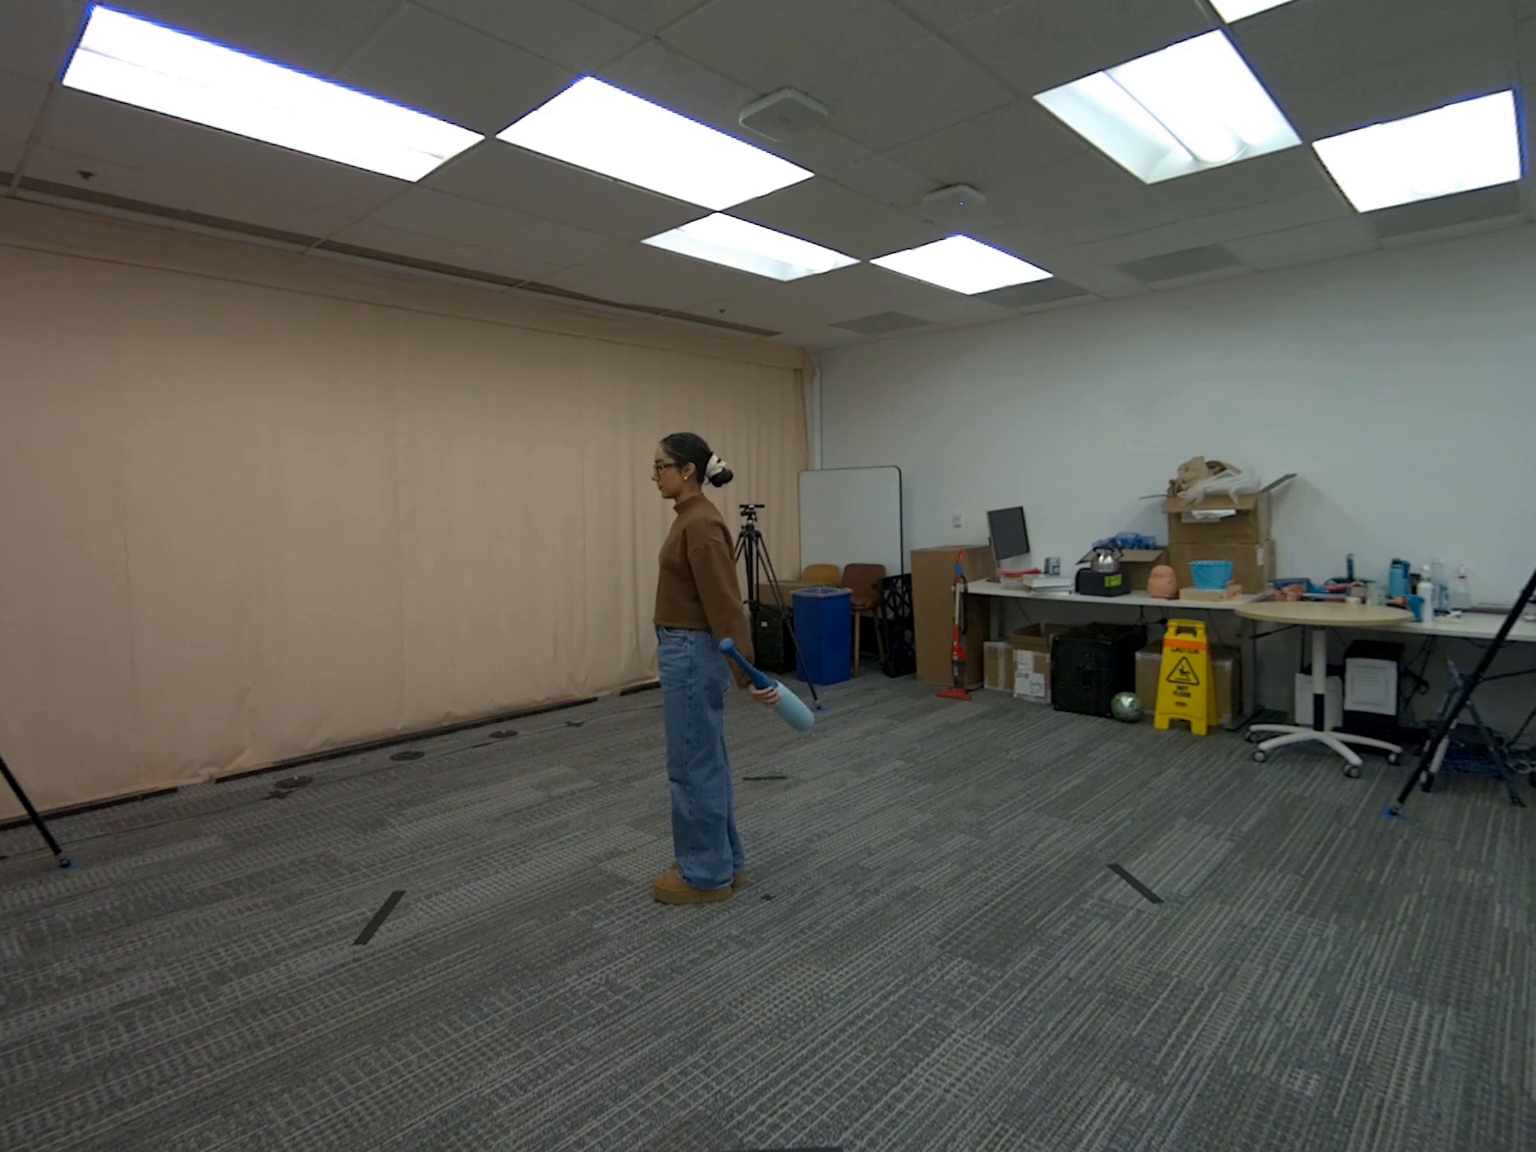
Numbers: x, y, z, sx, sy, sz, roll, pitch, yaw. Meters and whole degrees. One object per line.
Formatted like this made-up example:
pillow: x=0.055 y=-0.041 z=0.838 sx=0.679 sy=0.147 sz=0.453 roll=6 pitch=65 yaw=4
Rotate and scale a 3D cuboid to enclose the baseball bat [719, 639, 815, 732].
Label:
baseball bat: x=-0.021 y=0.365 z=2.745 sx=0.092 sy=0.089 sz=0.524 roll=2 pitch=-32 yaw=33
